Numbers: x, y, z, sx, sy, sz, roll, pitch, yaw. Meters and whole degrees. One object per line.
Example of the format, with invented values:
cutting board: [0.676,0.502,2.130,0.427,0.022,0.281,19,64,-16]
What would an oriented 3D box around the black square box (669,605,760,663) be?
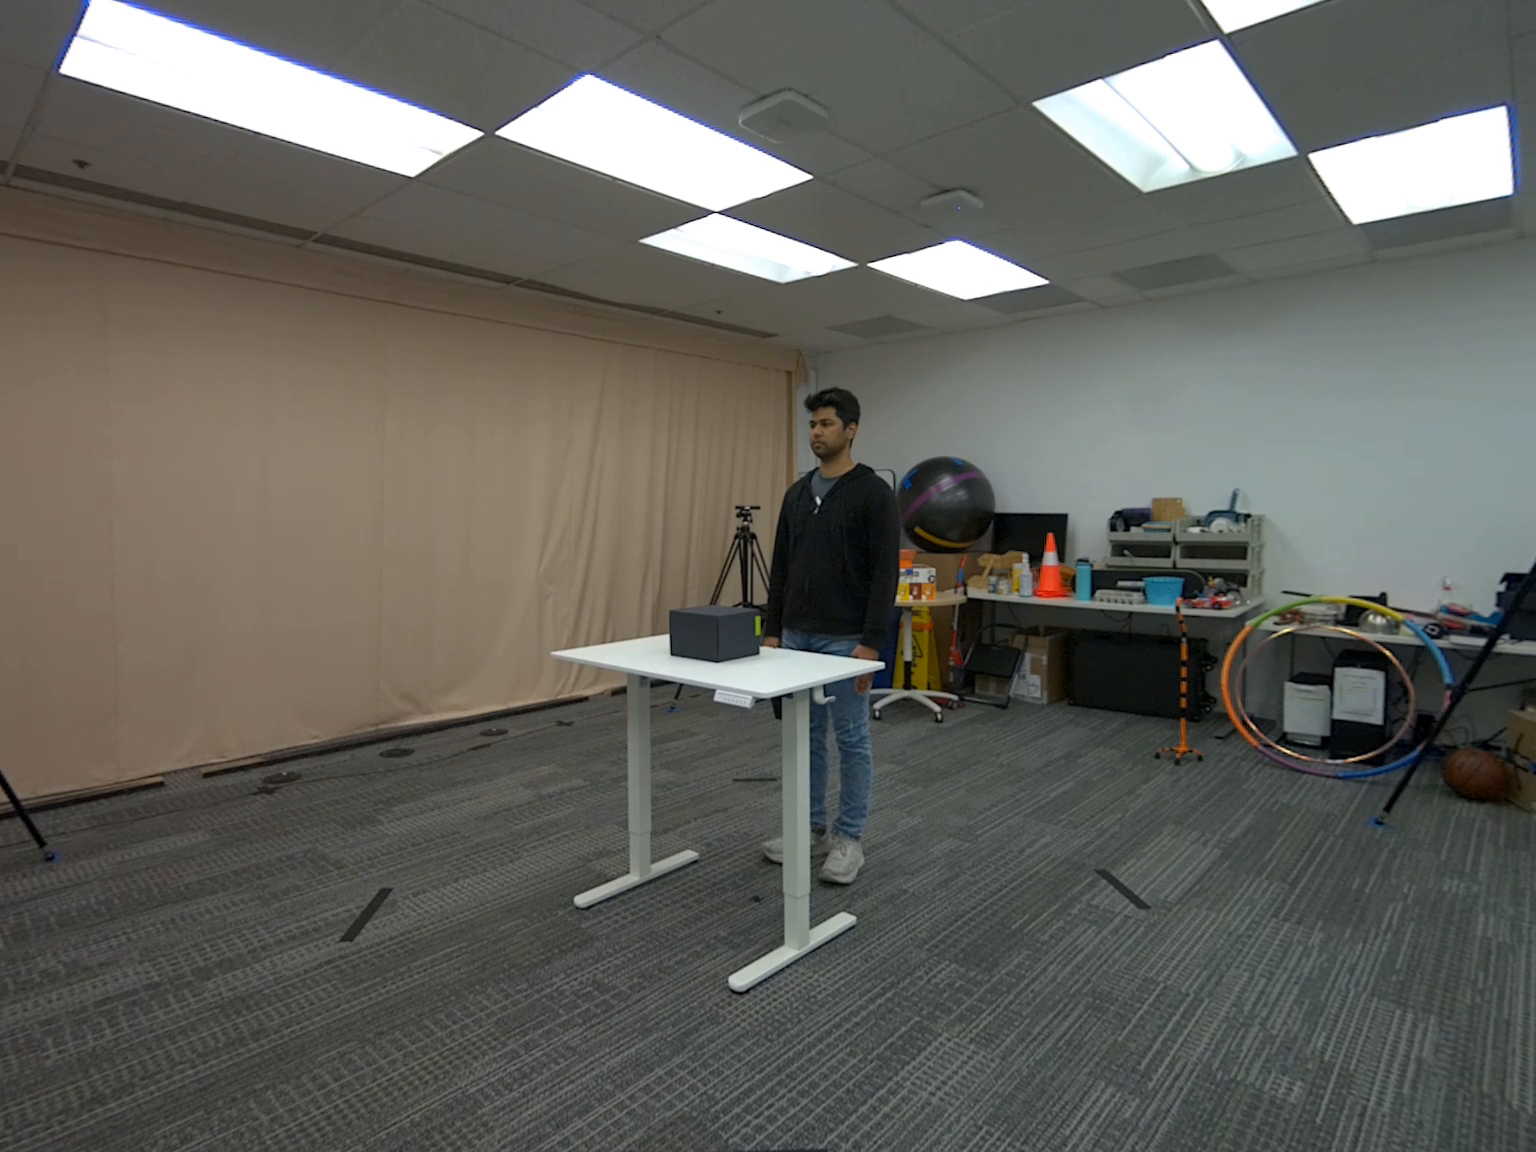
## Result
black square box: [-0.178,0.192,2.880,0.235,0.155,0.210,3,5,41]
